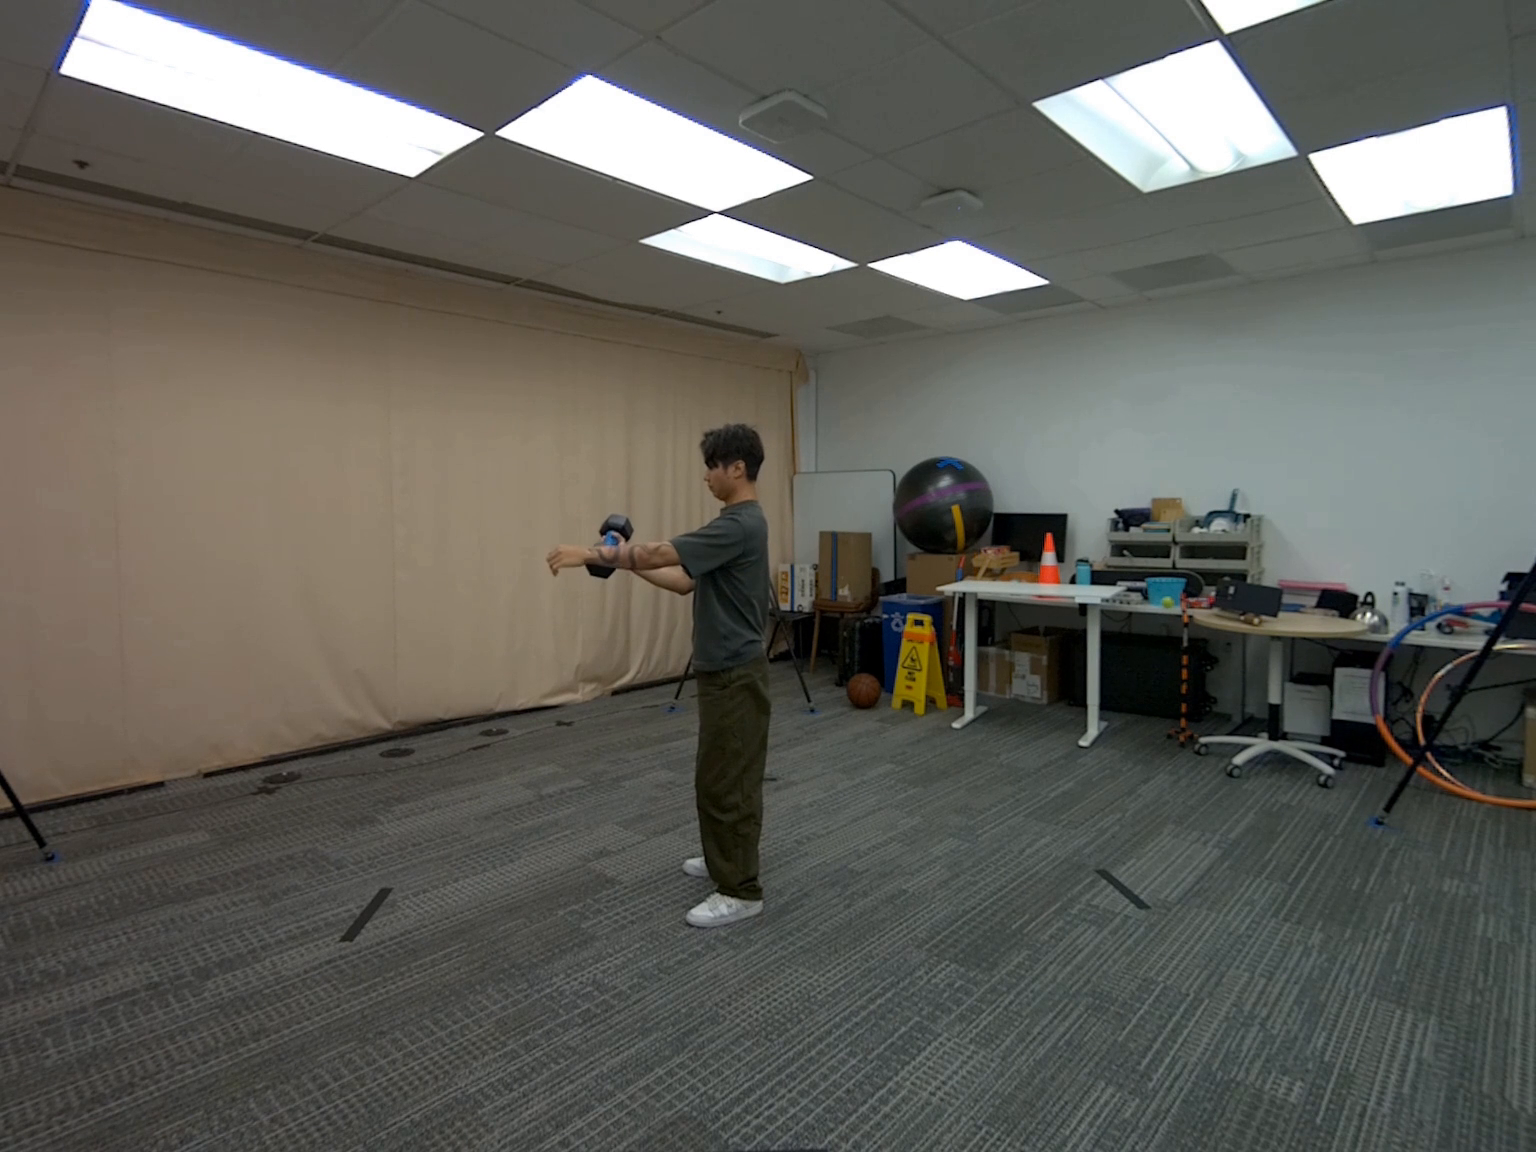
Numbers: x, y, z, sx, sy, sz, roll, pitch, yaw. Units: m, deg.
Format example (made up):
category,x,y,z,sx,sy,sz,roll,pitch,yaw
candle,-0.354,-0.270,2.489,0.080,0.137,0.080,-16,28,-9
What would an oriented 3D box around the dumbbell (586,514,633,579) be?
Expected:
category,x,y,z,sx,sy,sz,roll,pitch,yaw
dumbbell,-0.580,-0.116,3.105,0.110,0.120,0.296,-13,31,17
